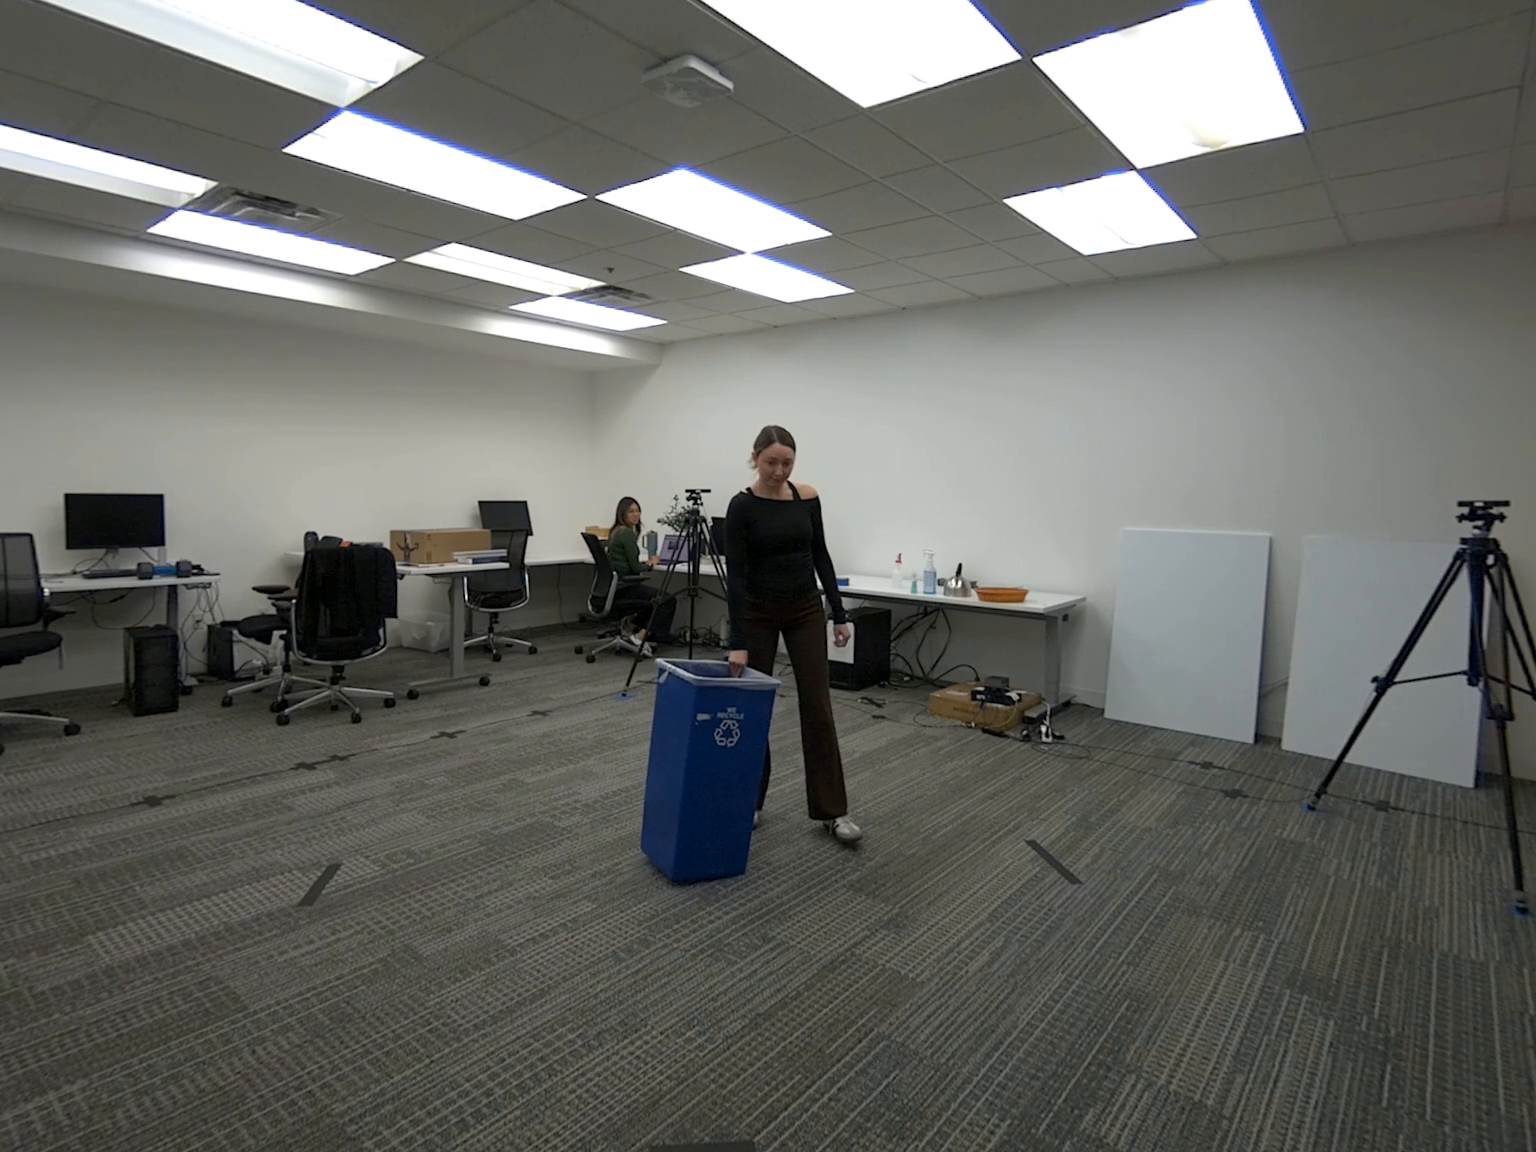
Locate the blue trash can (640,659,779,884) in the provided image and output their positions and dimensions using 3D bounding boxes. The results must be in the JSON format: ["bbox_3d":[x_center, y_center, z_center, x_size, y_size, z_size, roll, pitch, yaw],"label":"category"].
[{"bbox_3d":[-0.244,0.696,3.154,0.363,0.713,0.390,7,1,-31],"label":"blue trash can"}]
